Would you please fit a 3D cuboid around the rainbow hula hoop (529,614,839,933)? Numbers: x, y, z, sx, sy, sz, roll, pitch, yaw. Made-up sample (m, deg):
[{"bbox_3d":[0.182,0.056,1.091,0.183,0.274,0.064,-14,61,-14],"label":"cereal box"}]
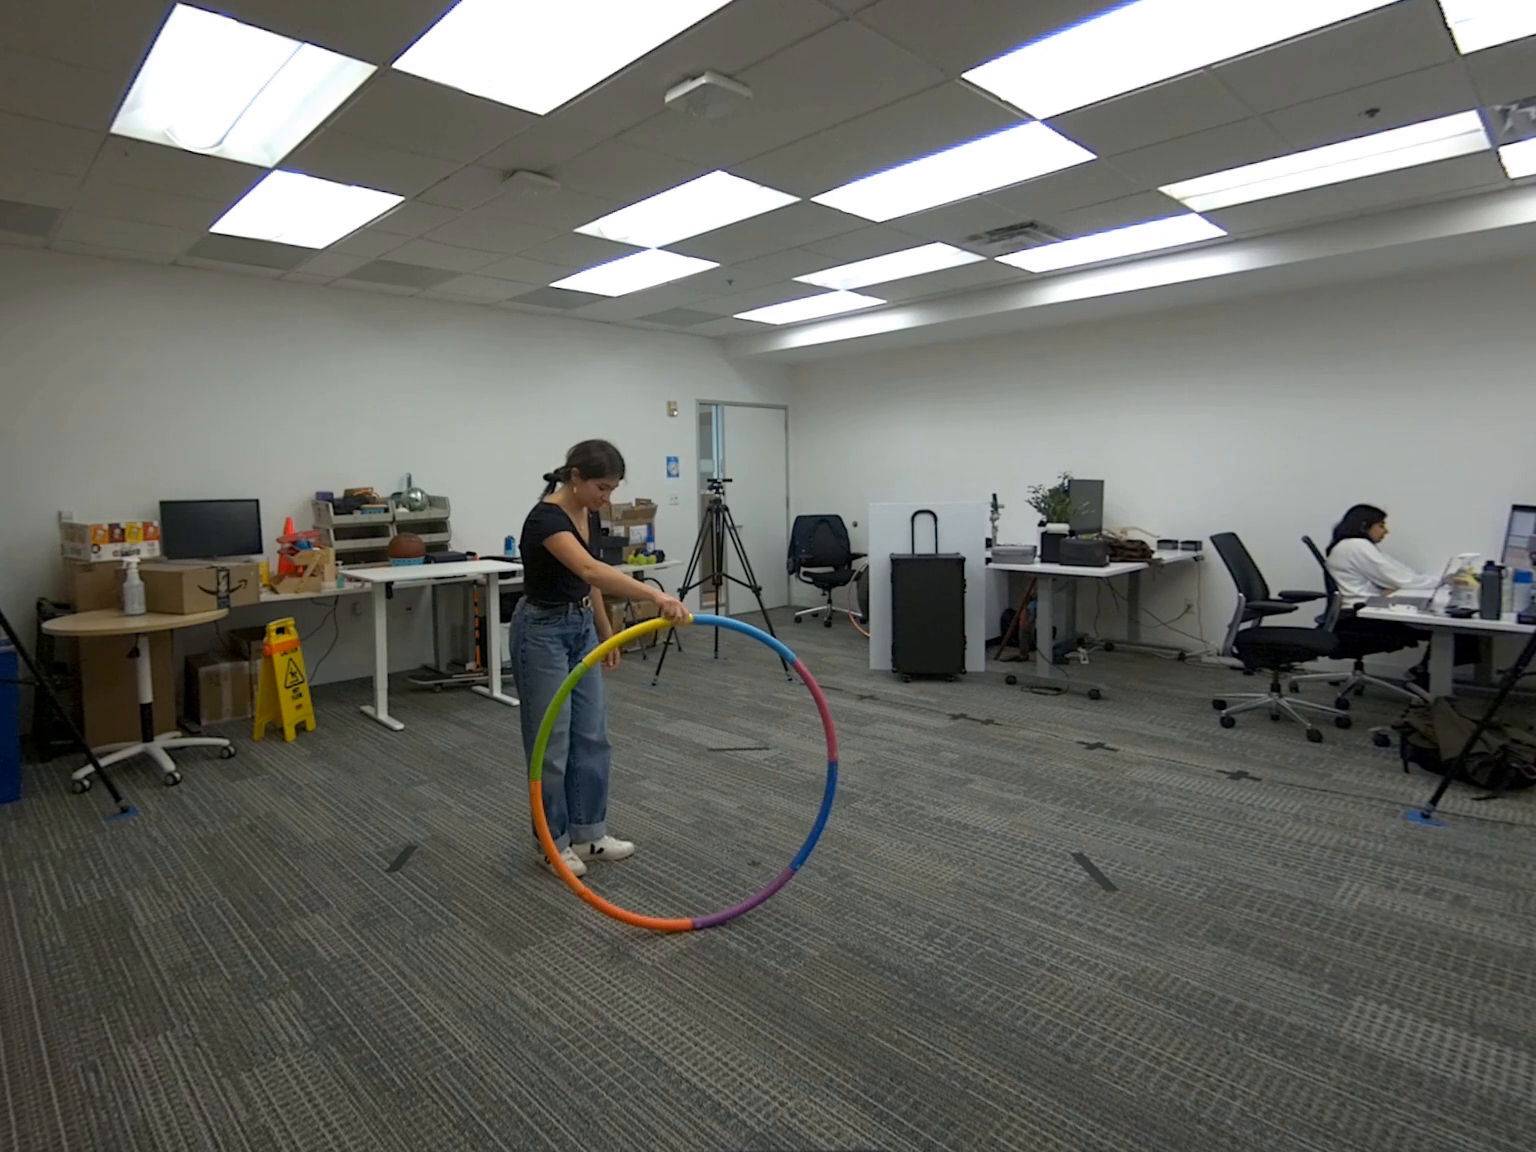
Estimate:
[{"bbox_3d":[-0.241,0.616,2.692,0.965,0.981,0.036,-2,-3,-14],"label":"rainbow hula hoop"}]
